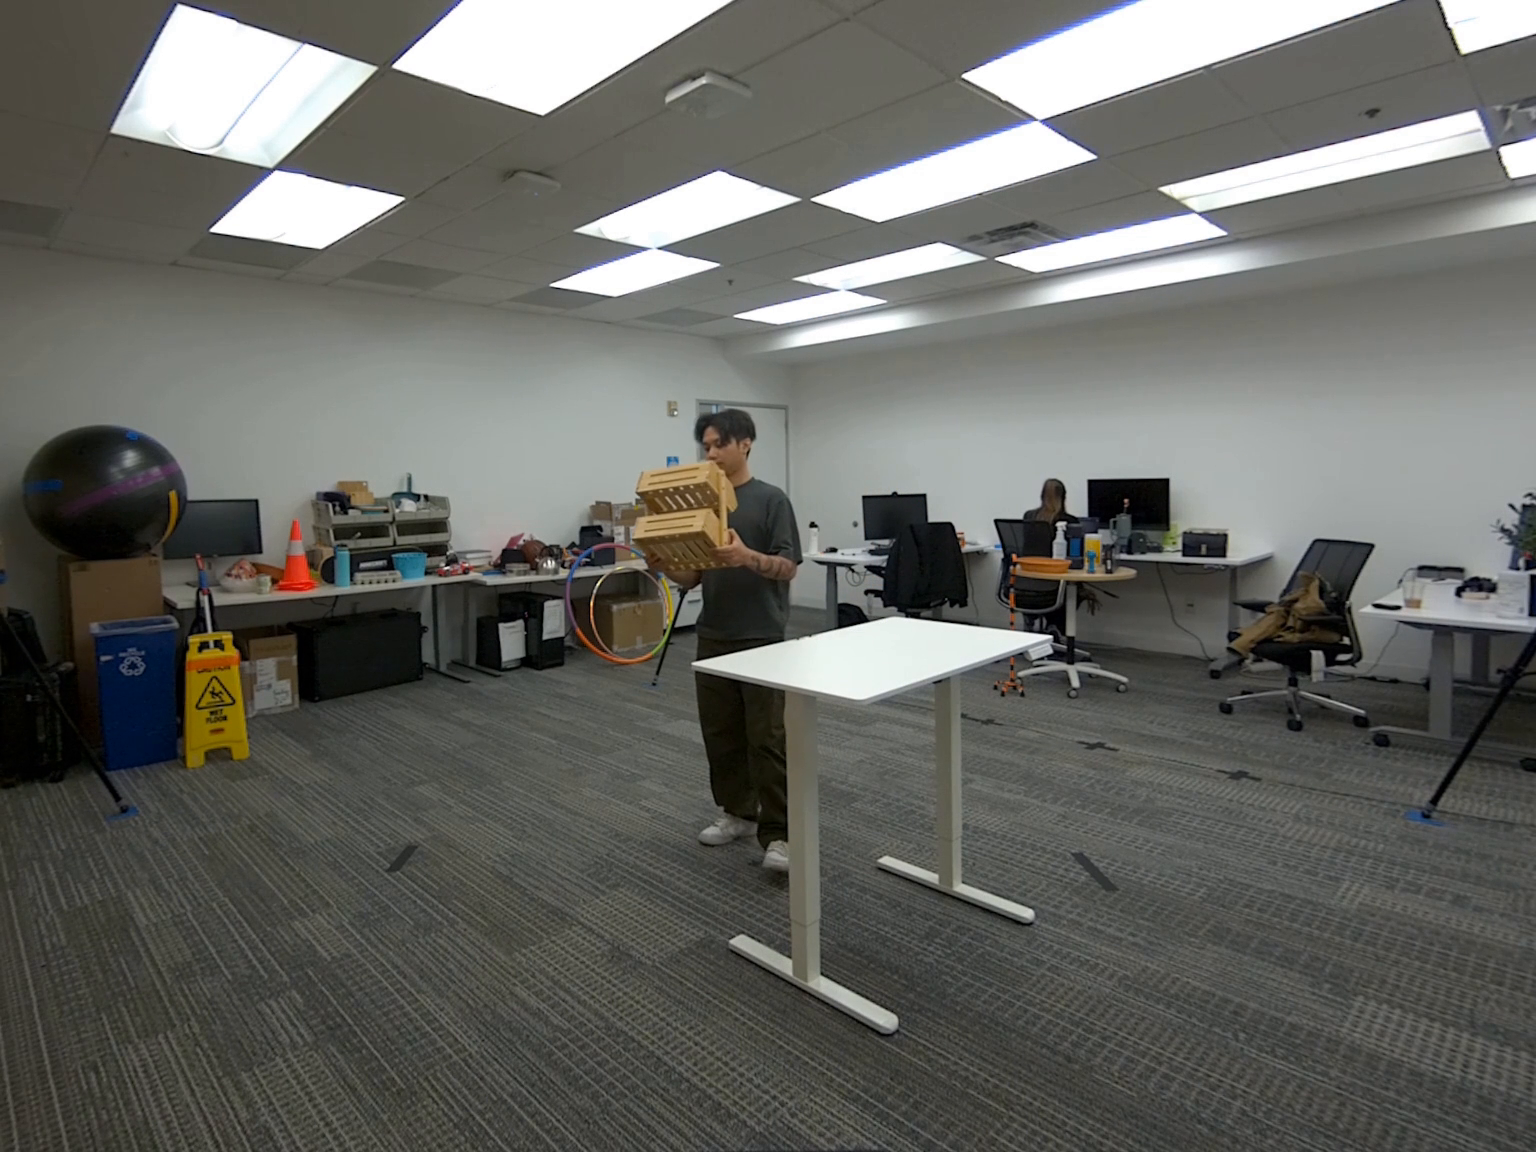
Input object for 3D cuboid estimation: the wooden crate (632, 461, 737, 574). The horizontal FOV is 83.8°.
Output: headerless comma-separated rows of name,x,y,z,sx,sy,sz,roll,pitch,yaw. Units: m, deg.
wooden crate,-0.278,-0.204,3.055,0.331,0.278,0.290,-6,-33,28
